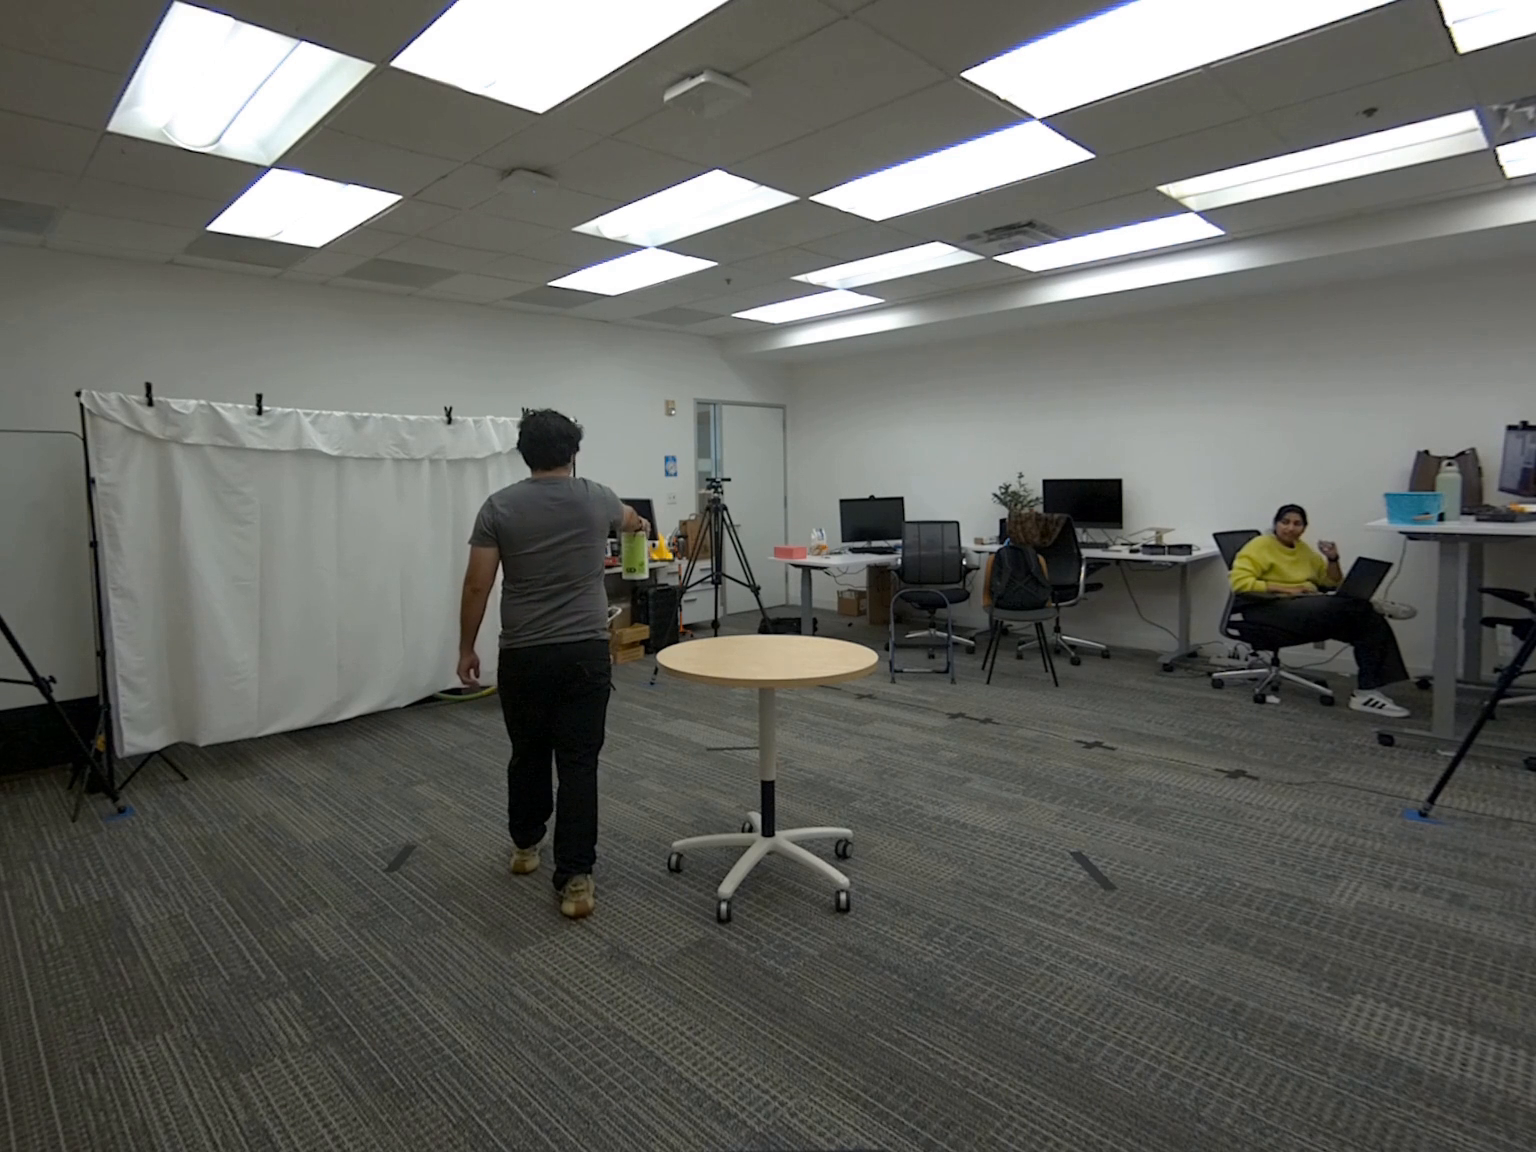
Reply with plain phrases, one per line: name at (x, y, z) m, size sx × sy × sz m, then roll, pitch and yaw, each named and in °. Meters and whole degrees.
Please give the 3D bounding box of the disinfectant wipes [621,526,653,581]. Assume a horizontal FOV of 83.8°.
disinfectant wipes at (-0.541, -0.096, 3.533) m, size 0.118 × 0.217 × 0.118 m, roll 0°, pitch 2°, yaw -2°
